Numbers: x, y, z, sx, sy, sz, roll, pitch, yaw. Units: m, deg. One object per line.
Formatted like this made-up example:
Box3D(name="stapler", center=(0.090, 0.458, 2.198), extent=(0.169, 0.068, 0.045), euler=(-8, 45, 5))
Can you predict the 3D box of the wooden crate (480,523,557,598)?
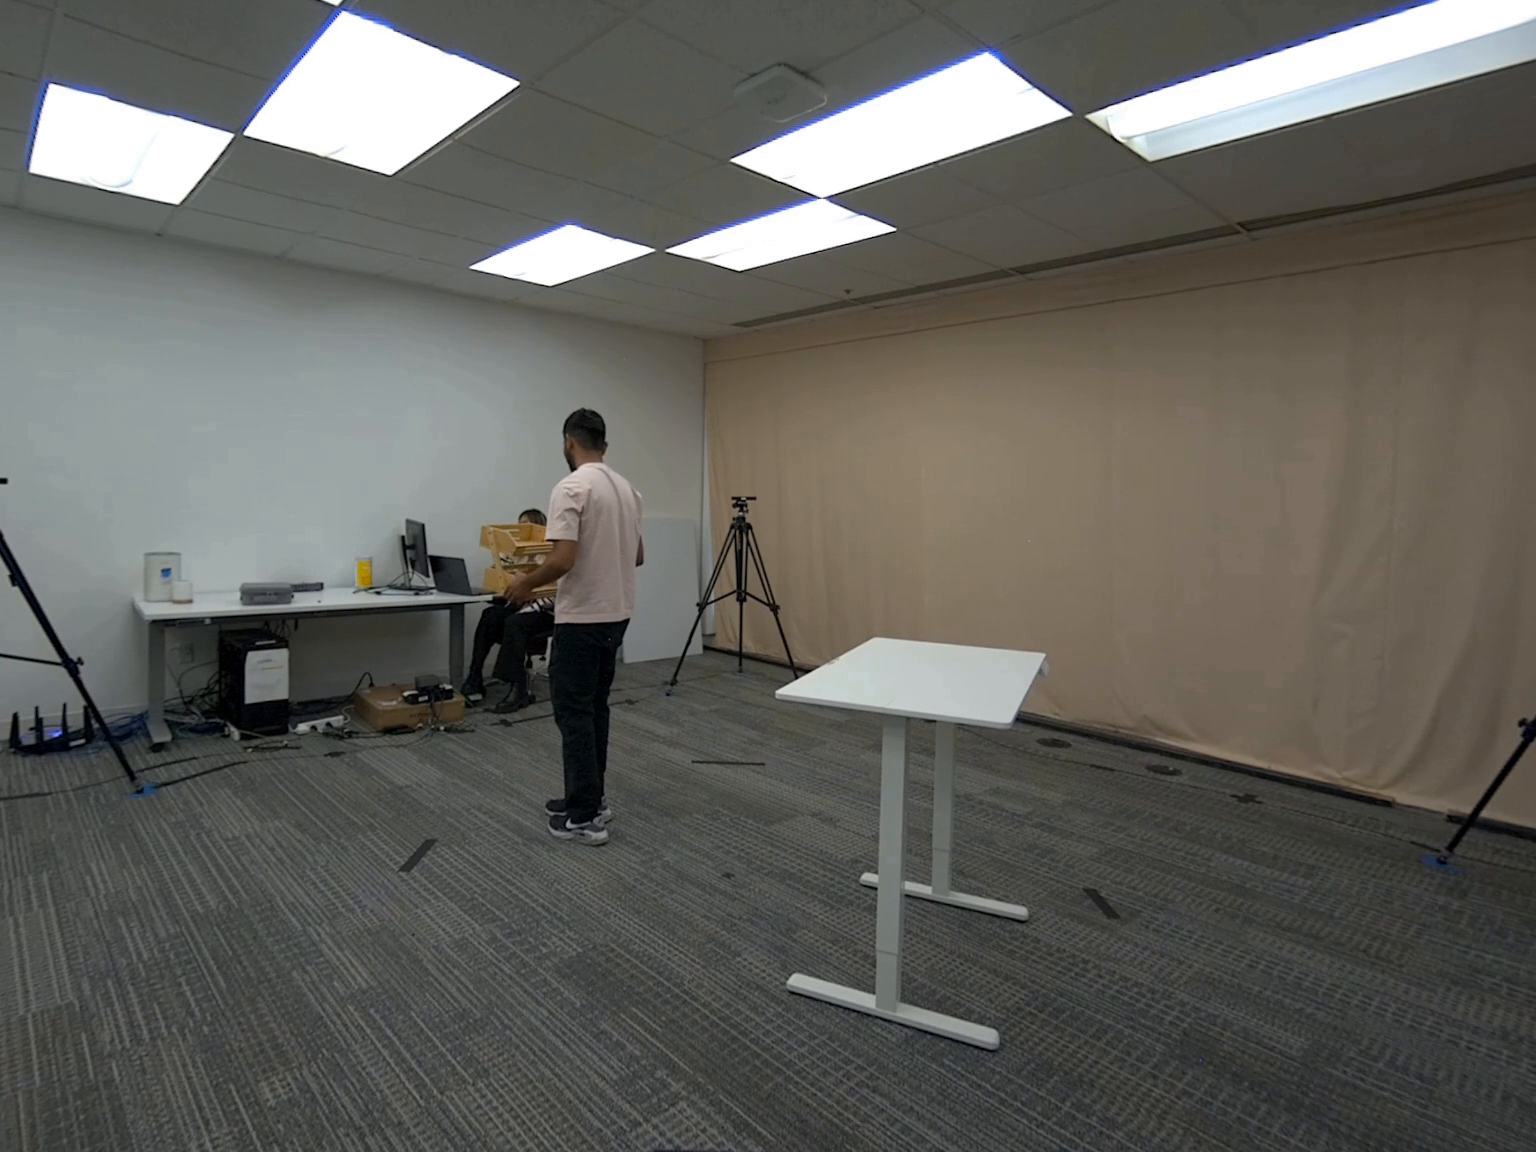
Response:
Box3D(name="wooden crate", center=(-1.020, -0.070, 3.606), extent=(0.309, 0.272, 0.319), euler=(14, 10, 26))
